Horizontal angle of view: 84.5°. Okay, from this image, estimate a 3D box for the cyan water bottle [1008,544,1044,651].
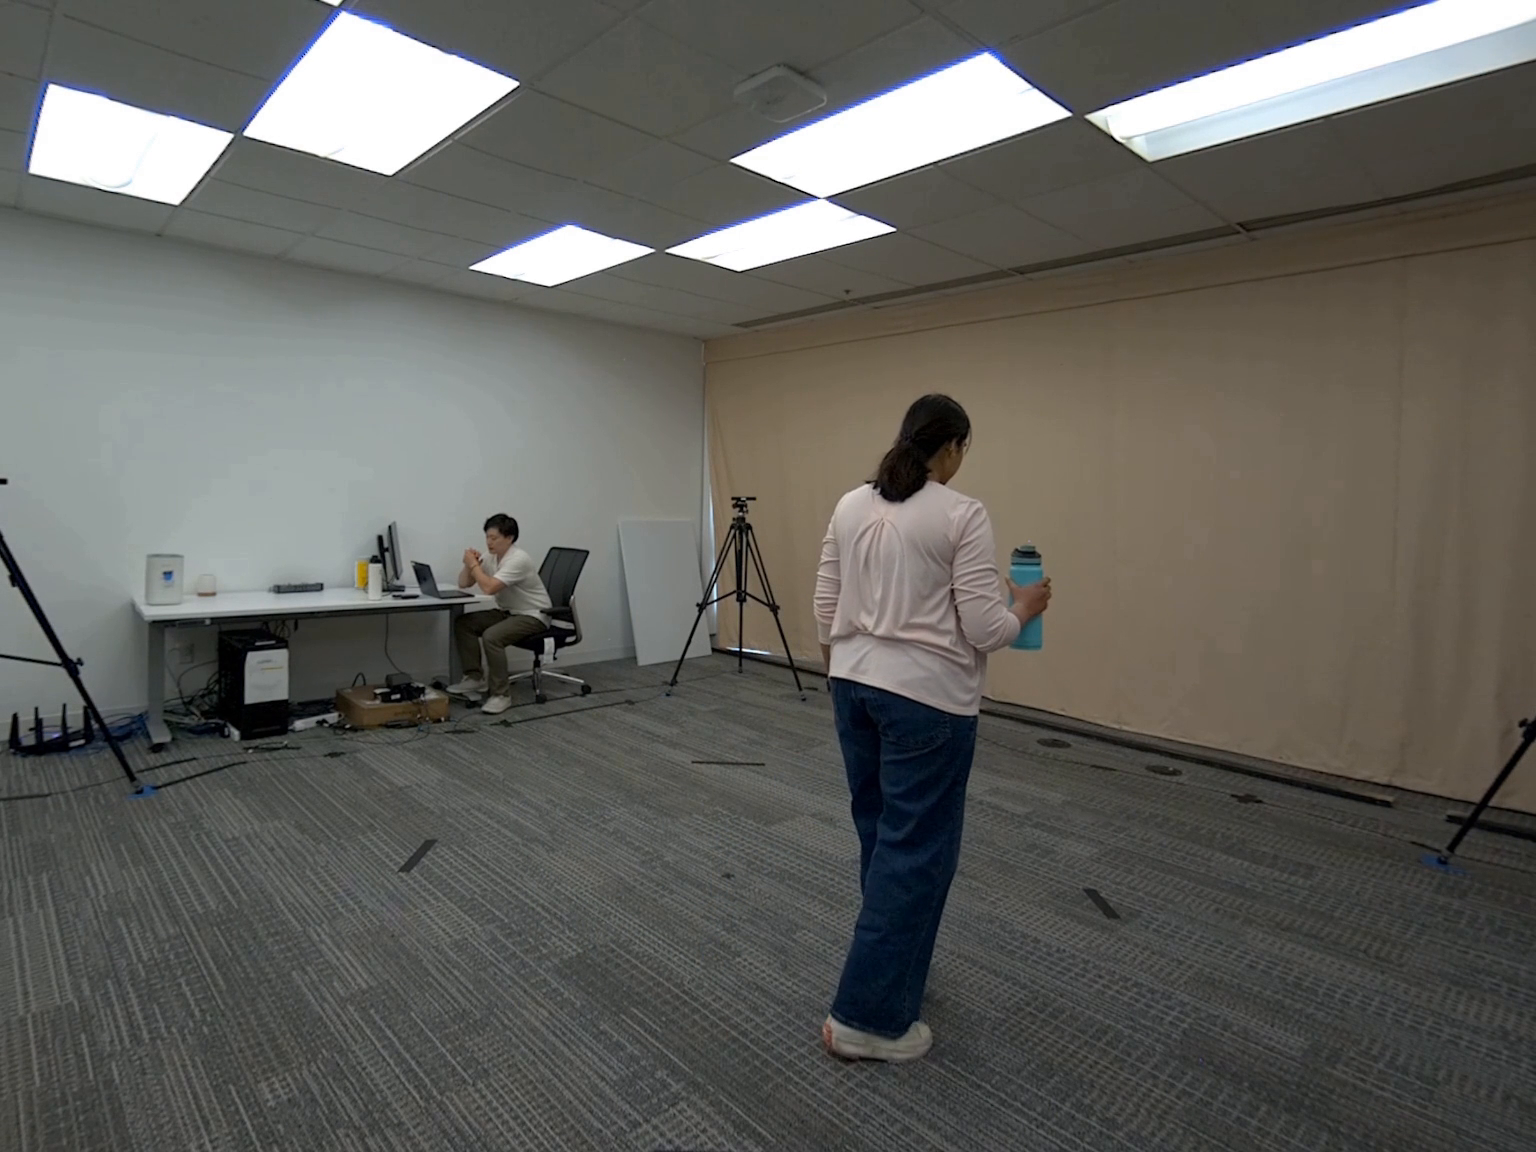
[{"bbox_3d":[0.707,0.060,2.310,0.092,0.283,0.092,1,1,-1],"label":"cyan water bottle"}]
